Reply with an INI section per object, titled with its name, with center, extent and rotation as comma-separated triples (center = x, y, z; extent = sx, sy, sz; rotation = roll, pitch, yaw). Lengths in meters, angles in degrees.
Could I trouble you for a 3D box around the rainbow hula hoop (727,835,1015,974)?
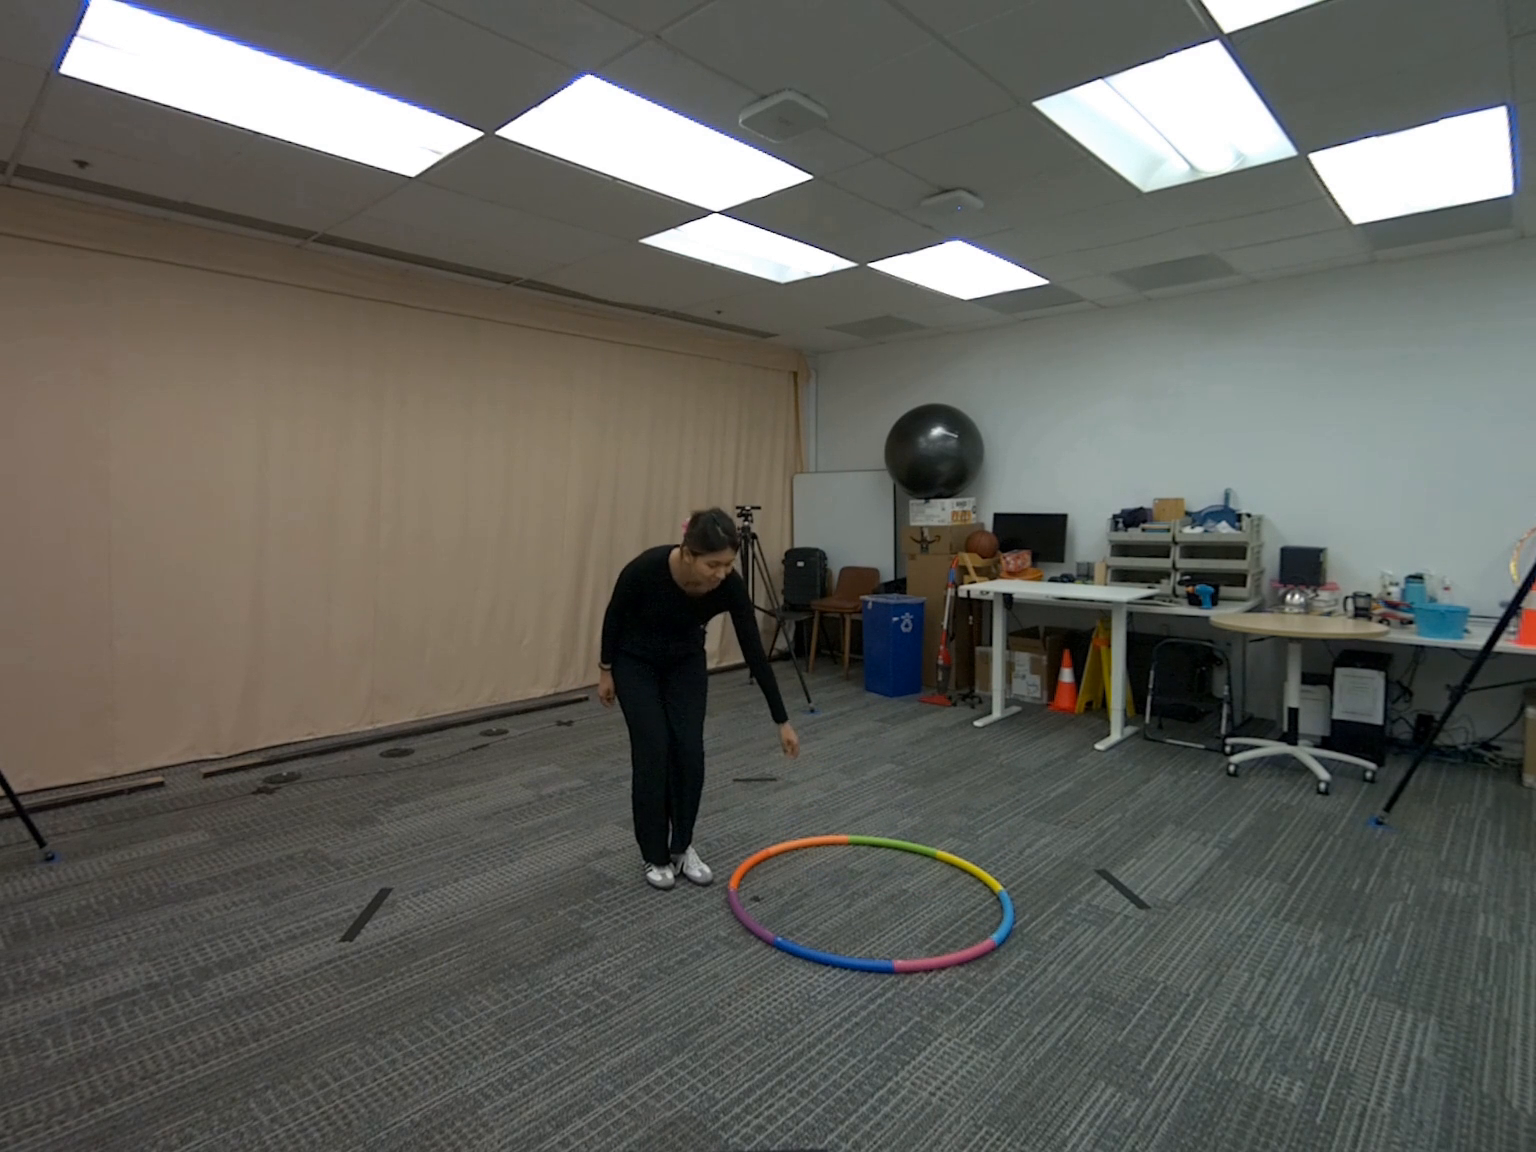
[rainbow hula hoop]
center = 0.349, 1.111, 2.989
extent = 0.978, 0.035, 0.982
rotation = 0, 5, -2
